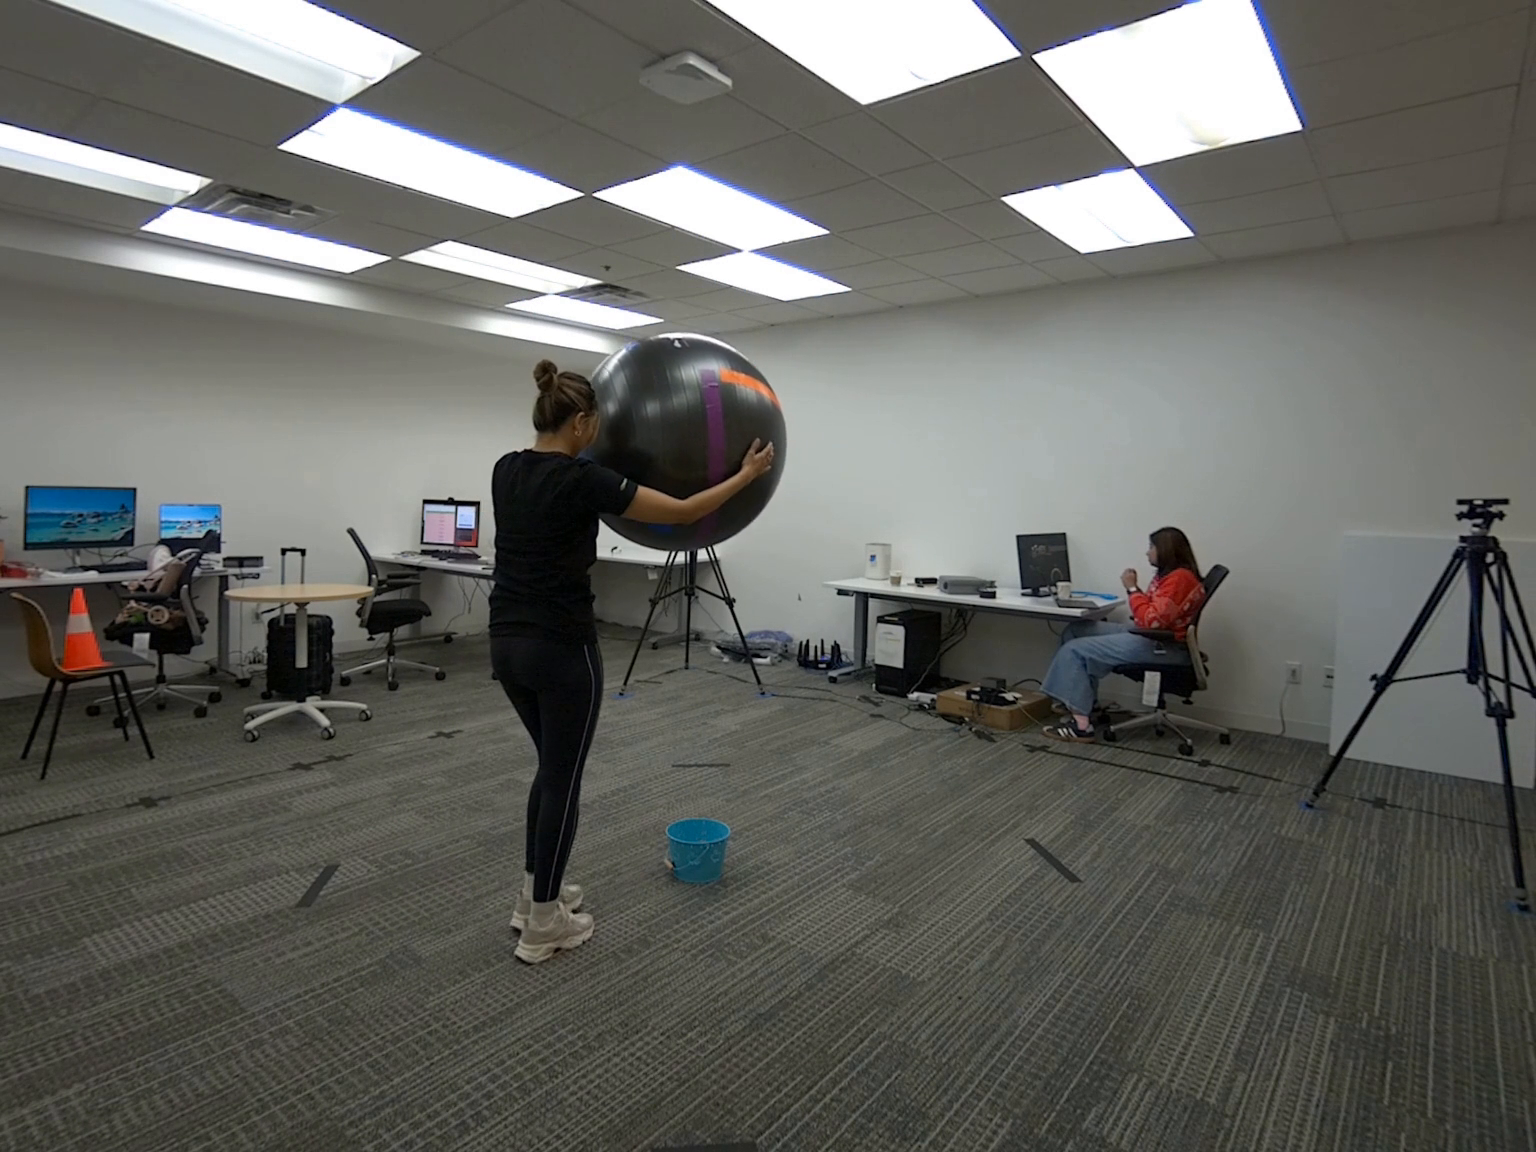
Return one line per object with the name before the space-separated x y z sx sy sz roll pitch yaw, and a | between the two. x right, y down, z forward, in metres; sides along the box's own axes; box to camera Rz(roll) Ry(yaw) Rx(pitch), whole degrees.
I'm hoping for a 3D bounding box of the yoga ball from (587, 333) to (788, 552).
yoga ball | -0.323 -0.450 2.976 0.757 0.756 0.762 1 4 -2
